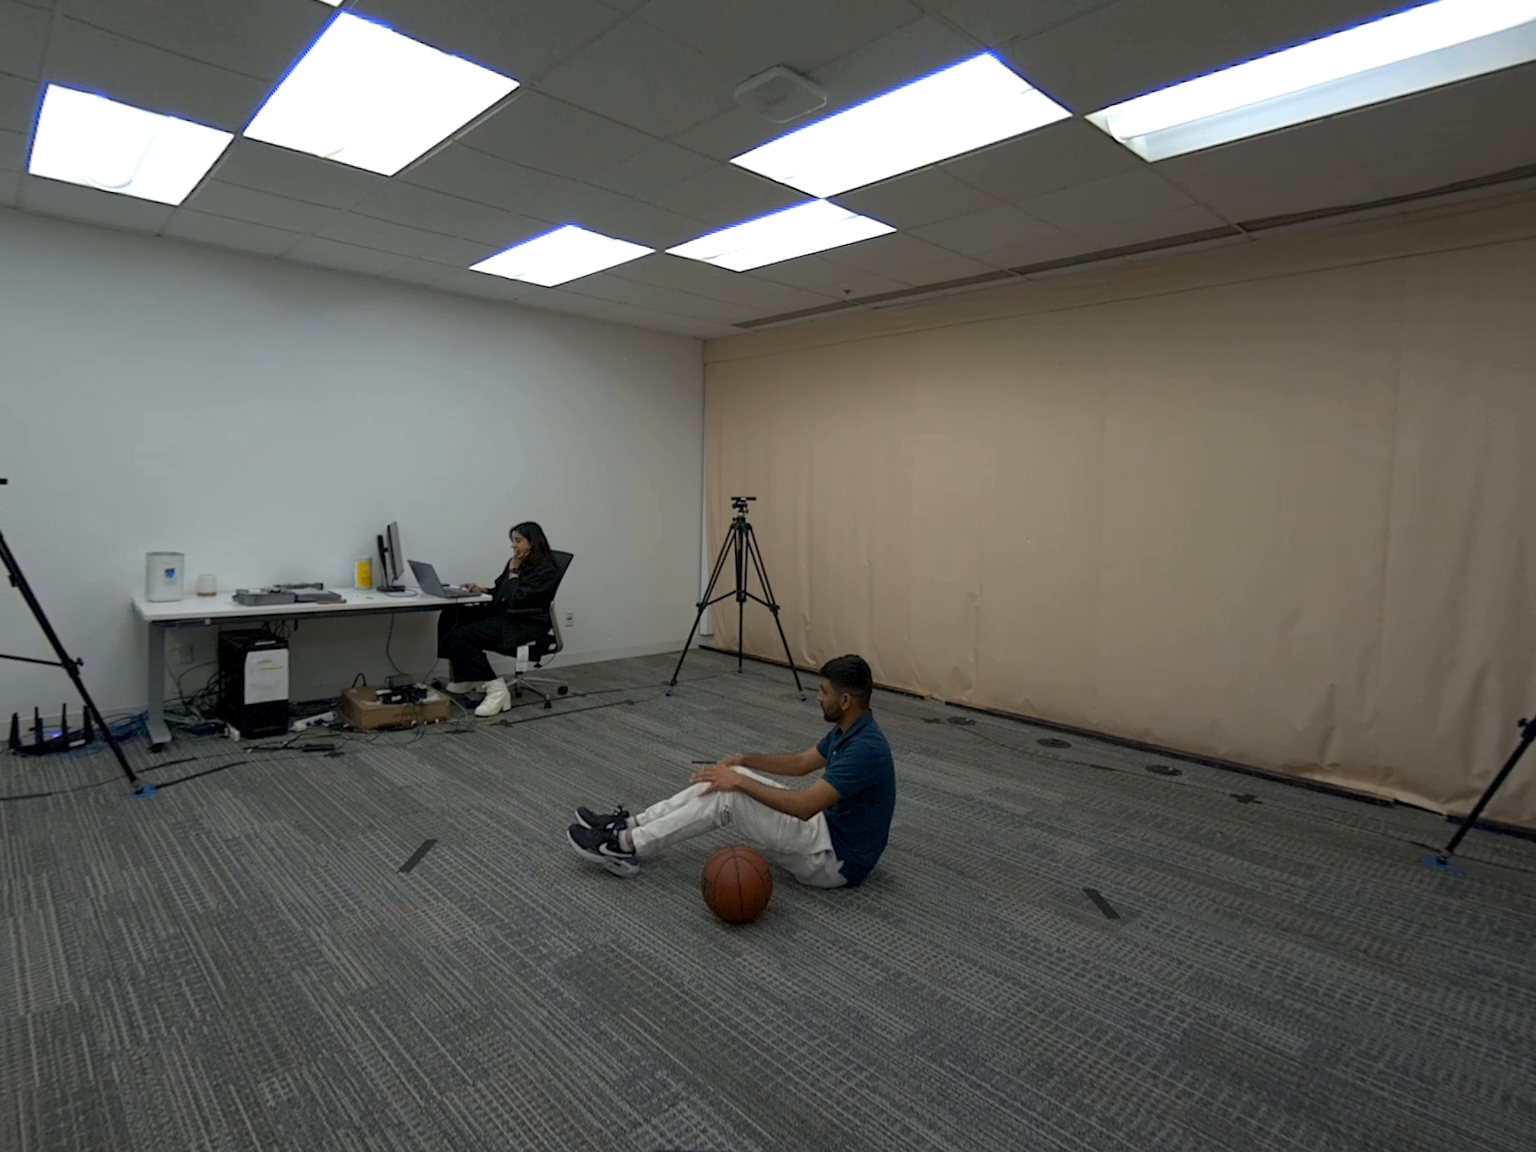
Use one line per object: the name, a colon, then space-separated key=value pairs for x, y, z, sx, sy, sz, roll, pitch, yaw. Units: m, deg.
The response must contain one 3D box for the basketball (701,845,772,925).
basketball: x=-0.110 y=1.014 z=2.784 sx=0.236 sy=0.235 sz=0.237 roll=1 pitch=4 yaw=-1
